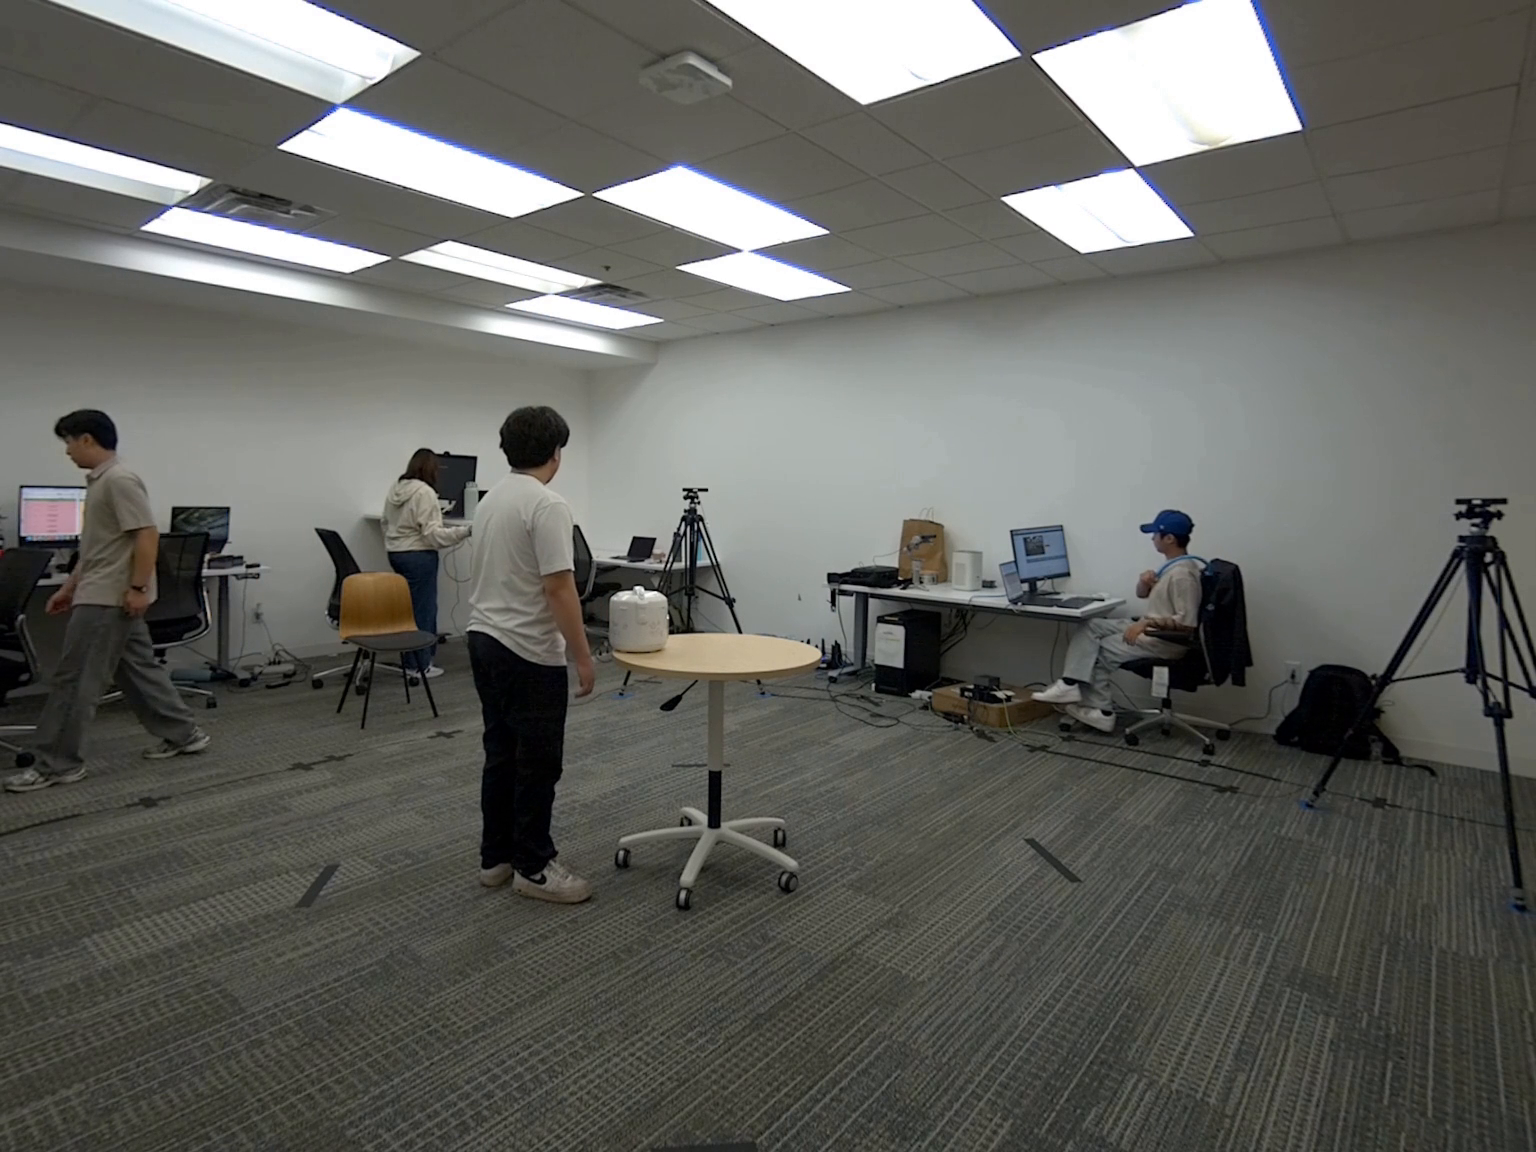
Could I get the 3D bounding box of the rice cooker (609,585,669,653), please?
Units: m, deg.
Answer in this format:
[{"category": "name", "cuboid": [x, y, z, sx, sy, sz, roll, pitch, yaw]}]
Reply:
[{"category": "rice cooker", "cuboid": [-0.486, 0.156, 3.129, 0.215, 0.232, 0.224, -2, 5, -13]}]
